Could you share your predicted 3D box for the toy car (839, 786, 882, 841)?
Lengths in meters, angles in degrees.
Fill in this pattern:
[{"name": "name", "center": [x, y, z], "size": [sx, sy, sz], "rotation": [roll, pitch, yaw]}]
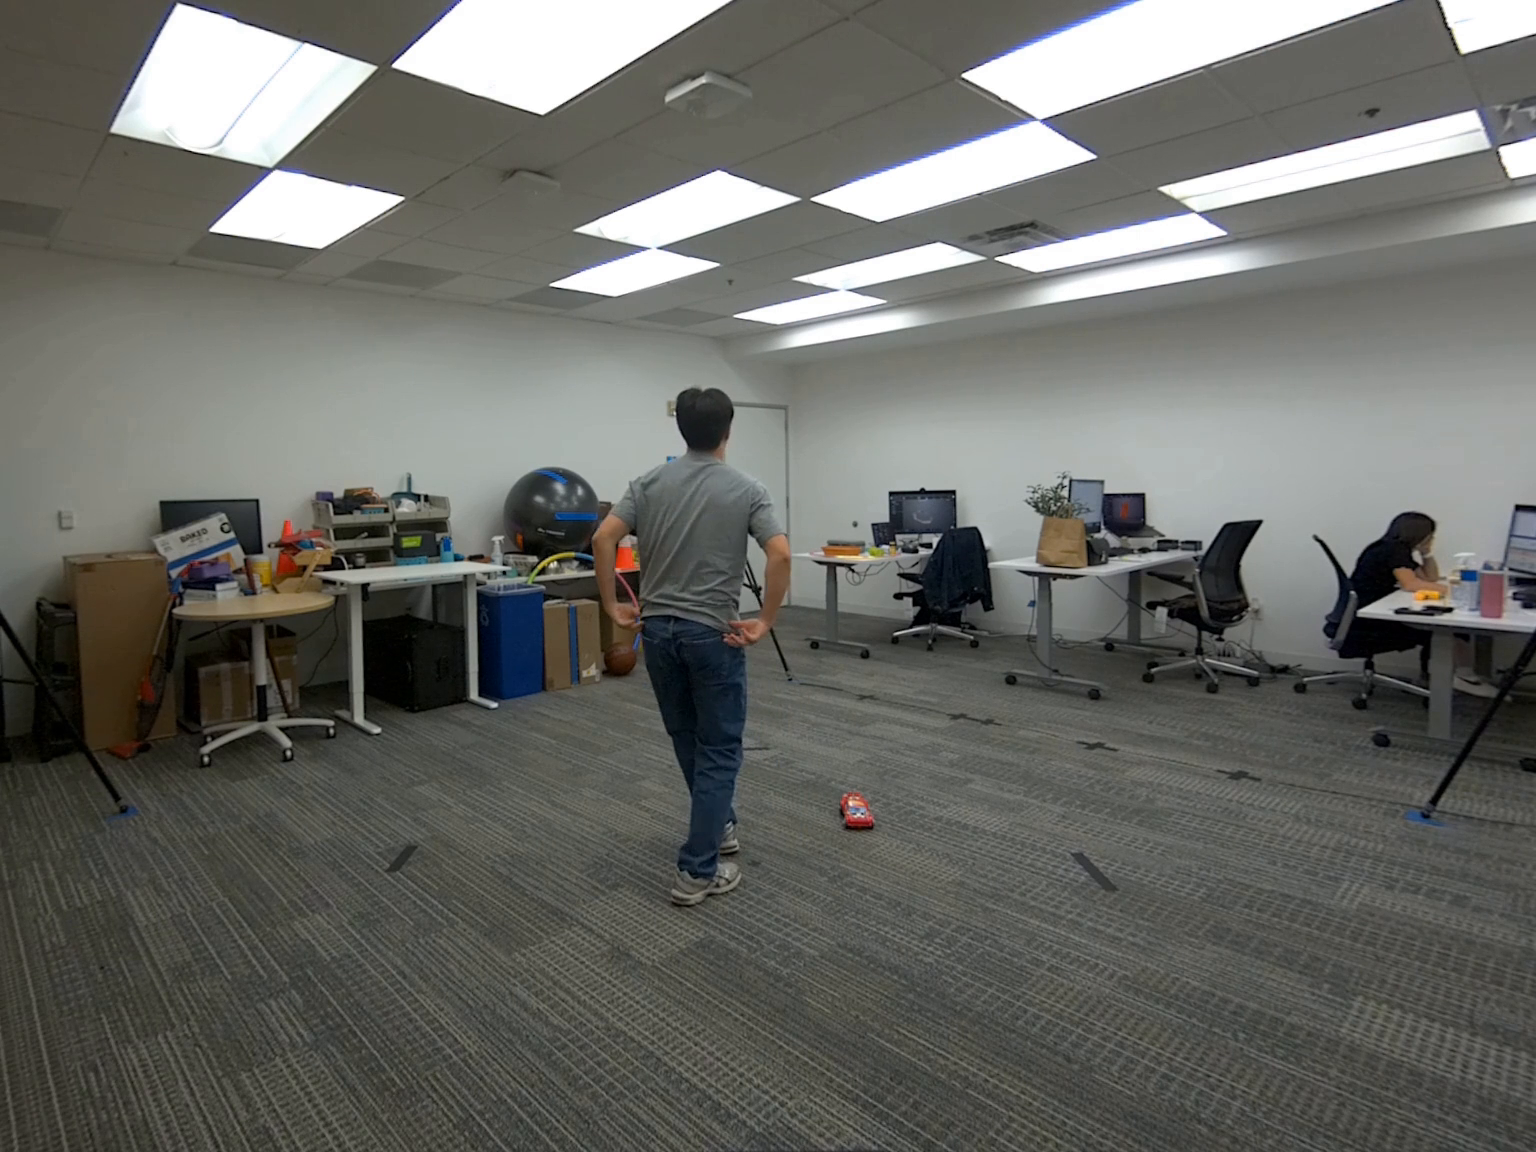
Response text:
[{"name": "toy car", "center": [0.373, 0.964, 3.498], "size": [0.130, 0.082, 0.258], "rotation": [-2, 17, -2]}]
